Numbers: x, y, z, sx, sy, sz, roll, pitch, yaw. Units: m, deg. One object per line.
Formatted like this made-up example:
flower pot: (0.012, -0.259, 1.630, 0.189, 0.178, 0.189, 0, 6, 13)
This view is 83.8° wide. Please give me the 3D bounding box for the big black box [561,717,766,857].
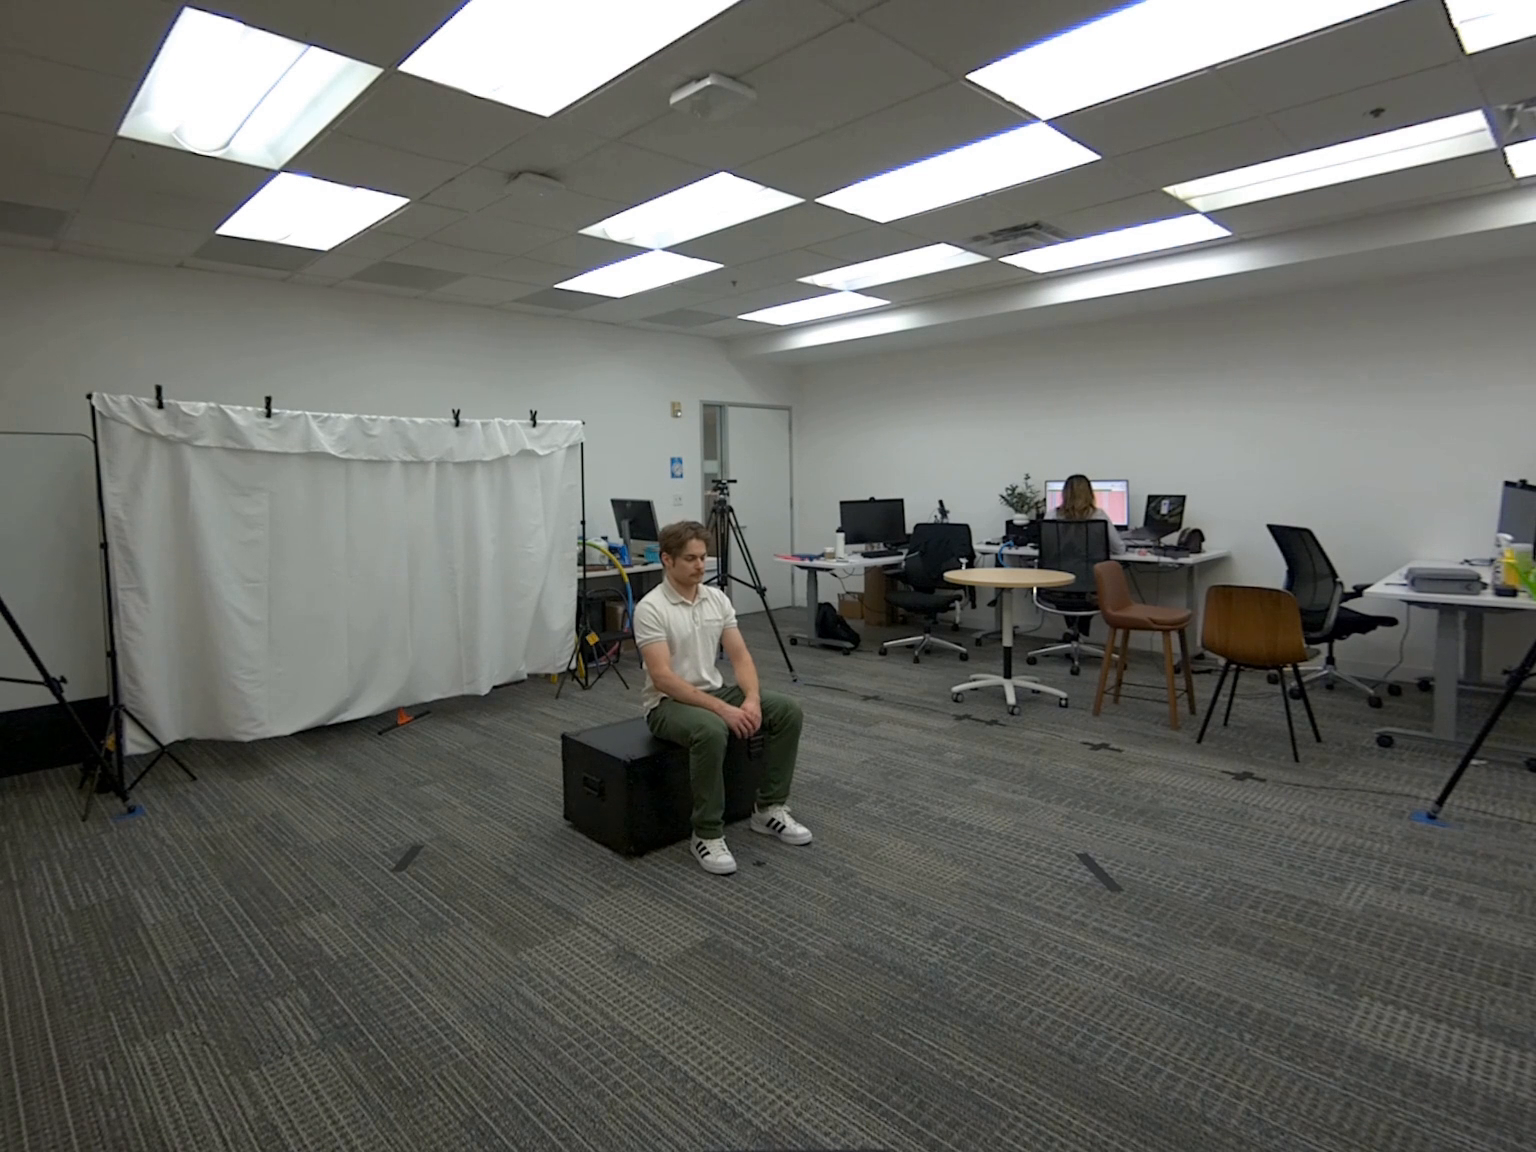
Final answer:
big black box: (-0.364, 0.809, 3.578, 0.846, 0.384, 0.539, -6, 6, -41)
